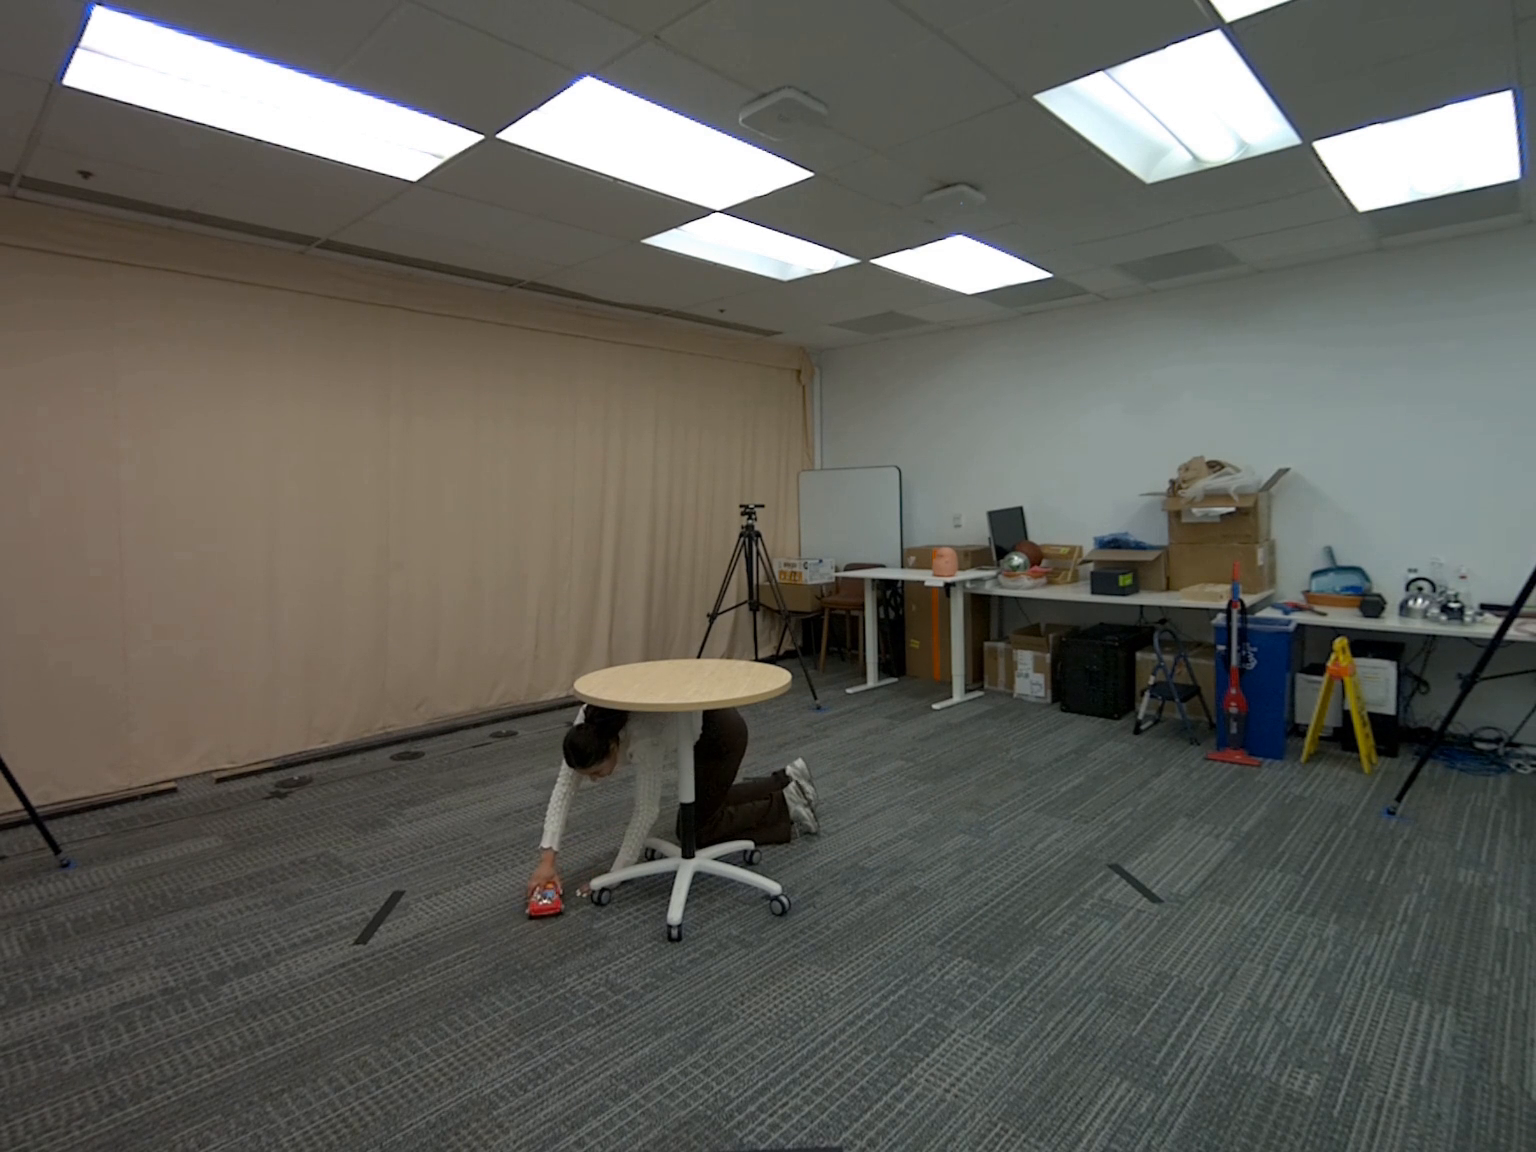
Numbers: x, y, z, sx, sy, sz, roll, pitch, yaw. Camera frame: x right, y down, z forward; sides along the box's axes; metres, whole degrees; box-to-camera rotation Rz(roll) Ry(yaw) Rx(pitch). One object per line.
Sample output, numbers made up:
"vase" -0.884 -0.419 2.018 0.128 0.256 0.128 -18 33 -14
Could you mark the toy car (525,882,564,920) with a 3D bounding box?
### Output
"toy car" -0.787 1.132 2.974 0.128 0.082 0.261 -4 14 -16
